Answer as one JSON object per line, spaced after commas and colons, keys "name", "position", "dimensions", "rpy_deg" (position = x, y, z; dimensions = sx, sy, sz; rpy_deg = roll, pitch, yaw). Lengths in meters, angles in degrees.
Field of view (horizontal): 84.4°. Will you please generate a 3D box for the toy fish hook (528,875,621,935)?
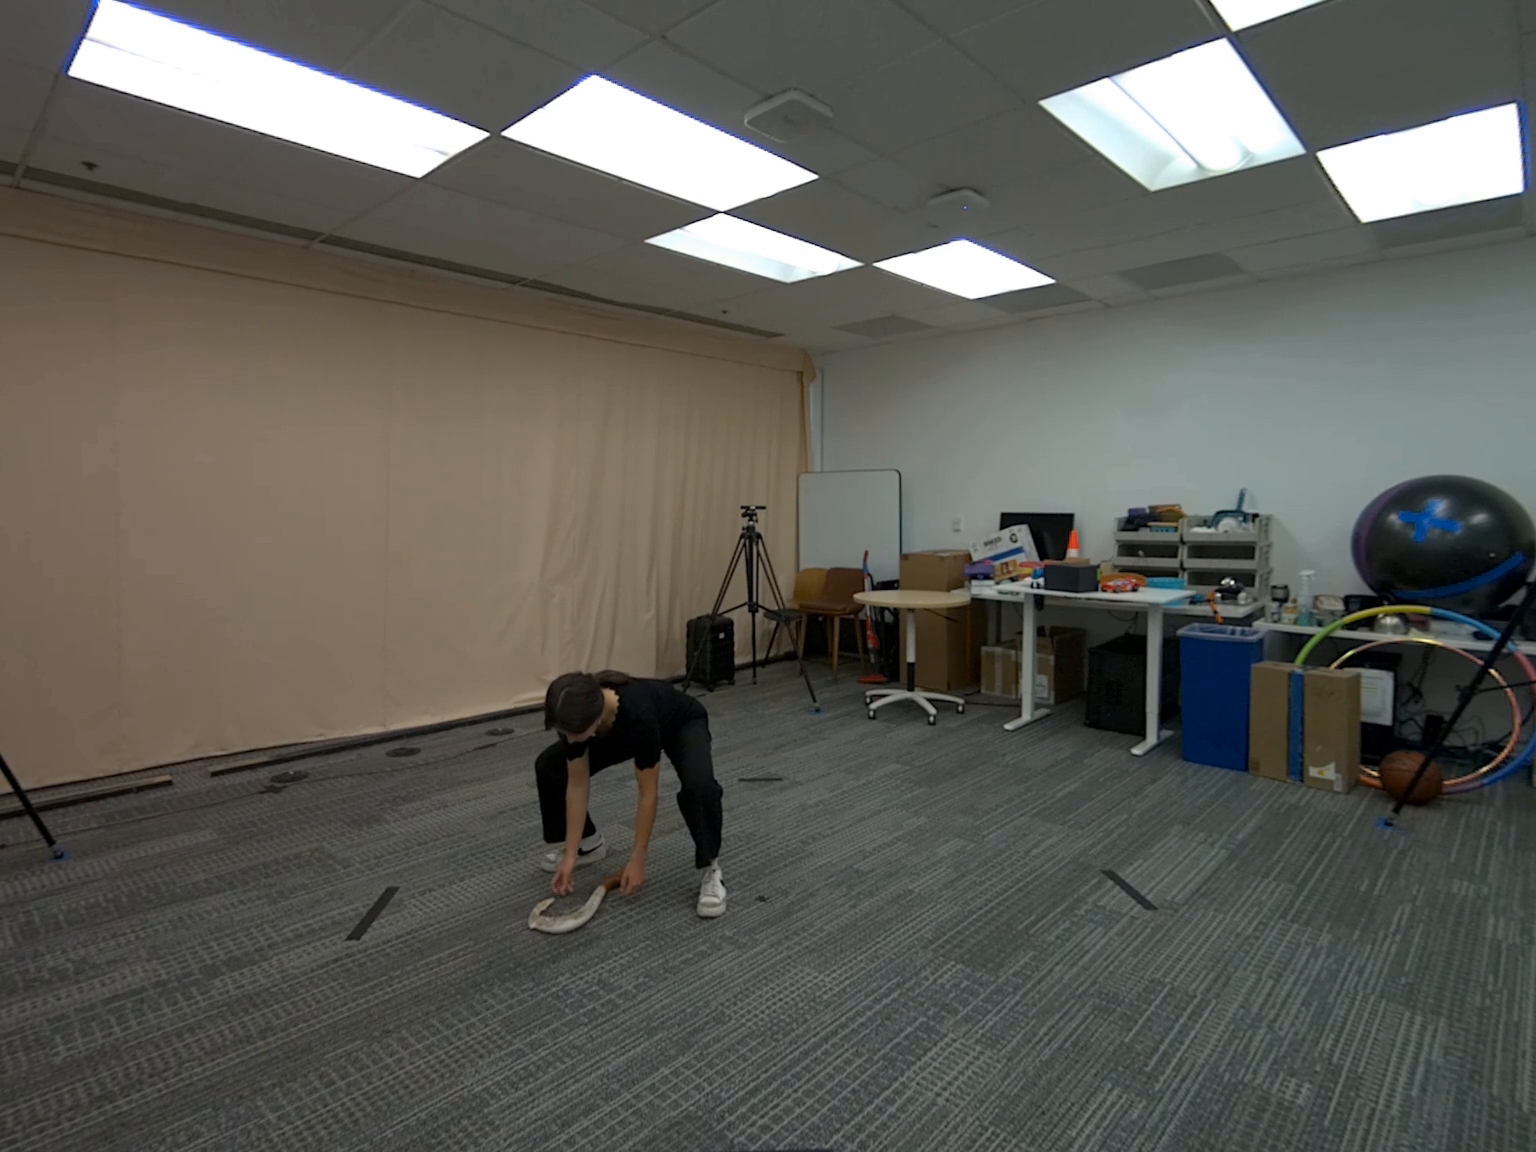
{"name": "toy fish hook", "position": [-0.654, 1.125, 2.979], "dimensions": [0.230, 0.048, 0.496], "rpy_deg": [3, 5, 20]}
